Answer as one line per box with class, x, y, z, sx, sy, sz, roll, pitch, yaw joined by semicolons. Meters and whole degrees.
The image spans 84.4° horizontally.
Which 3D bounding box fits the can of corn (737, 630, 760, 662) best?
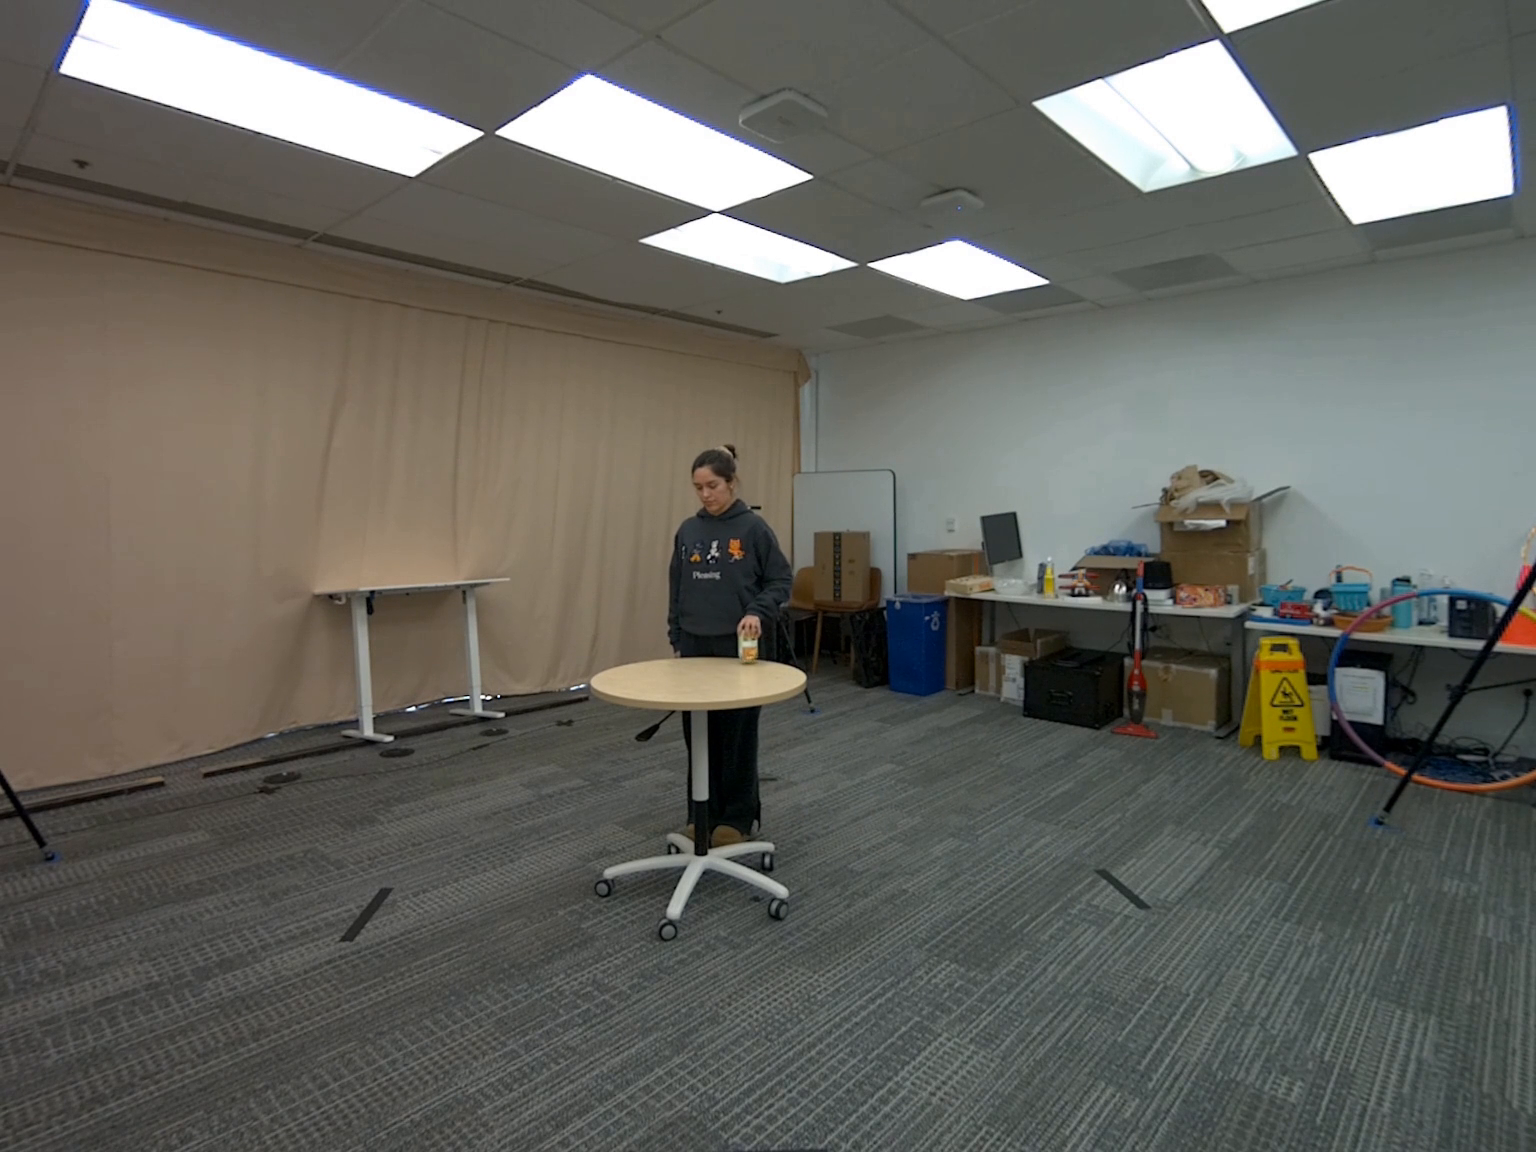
can of corn;-0.068;0.254;3.234;0.074;0.111;0.074;-1;1;-2
